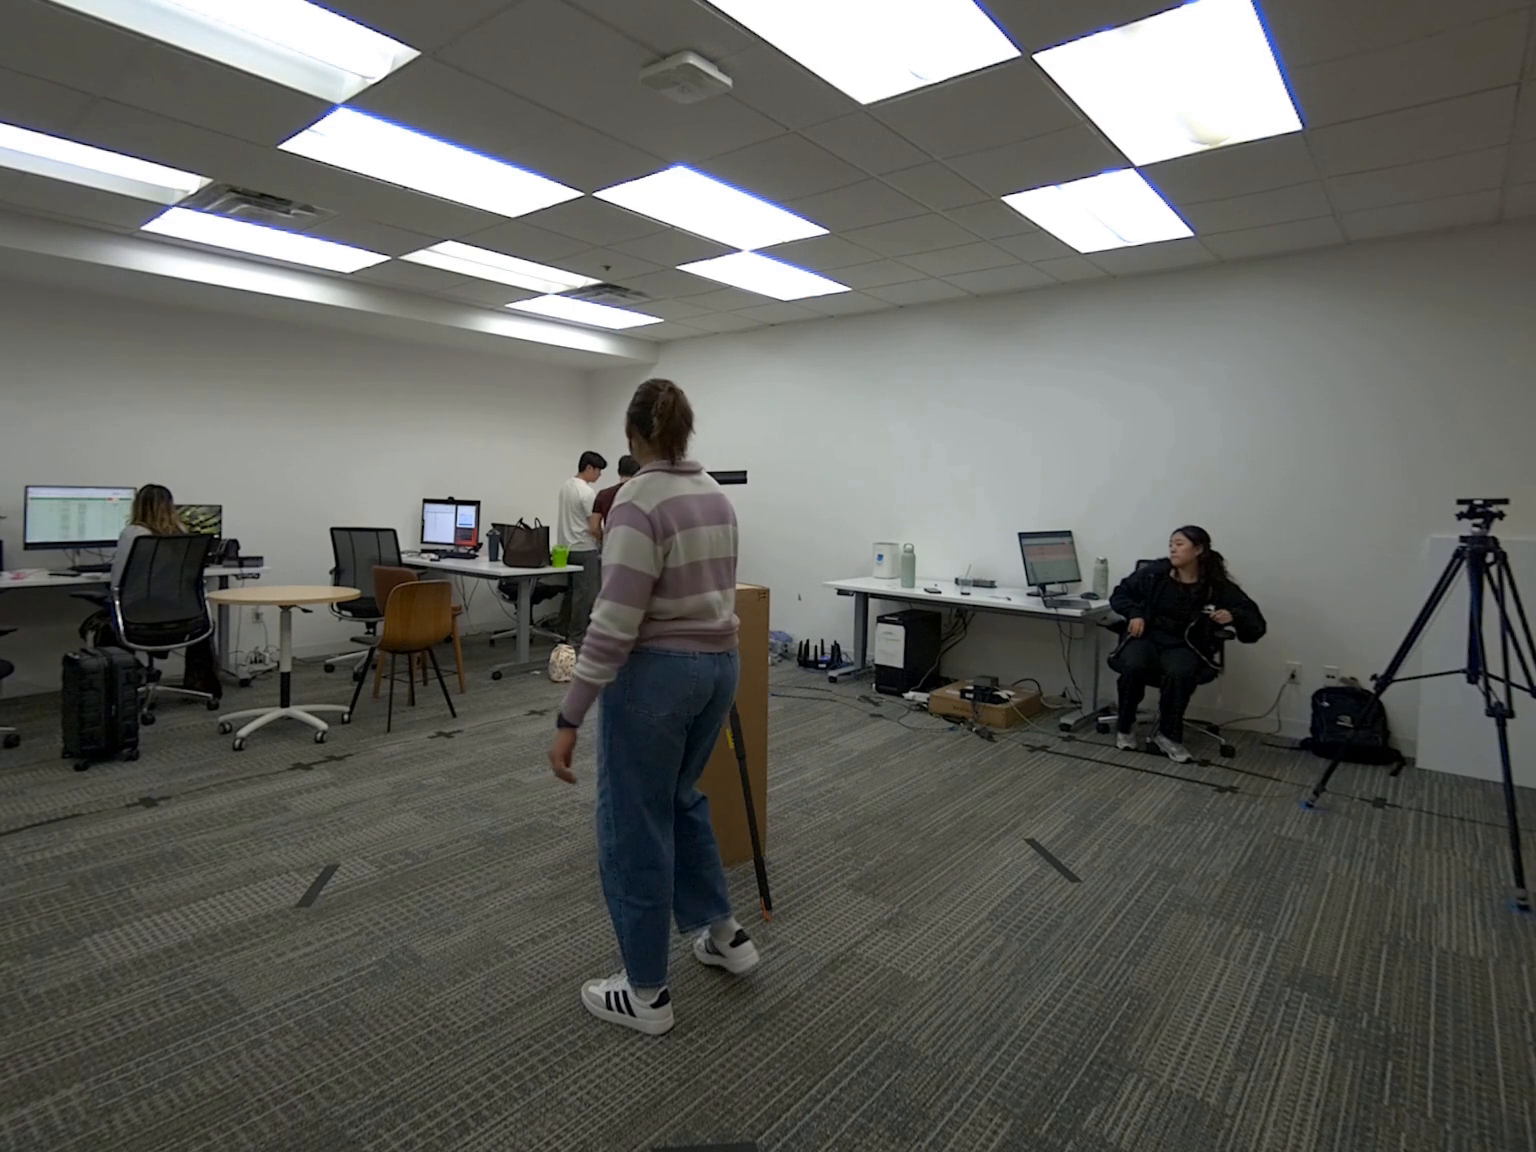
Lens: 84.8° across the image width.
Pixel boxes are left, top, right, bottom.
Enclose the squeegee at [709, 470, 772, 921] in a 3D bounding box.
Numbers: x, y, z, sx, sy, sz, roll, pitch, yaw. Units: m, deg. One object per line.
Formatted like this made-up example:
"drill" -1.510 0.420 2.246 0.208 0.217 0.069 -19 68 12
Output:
"squeegee" -0.149 0.358 2.946 0.427 1.565 0.053 -4 -17 -27
